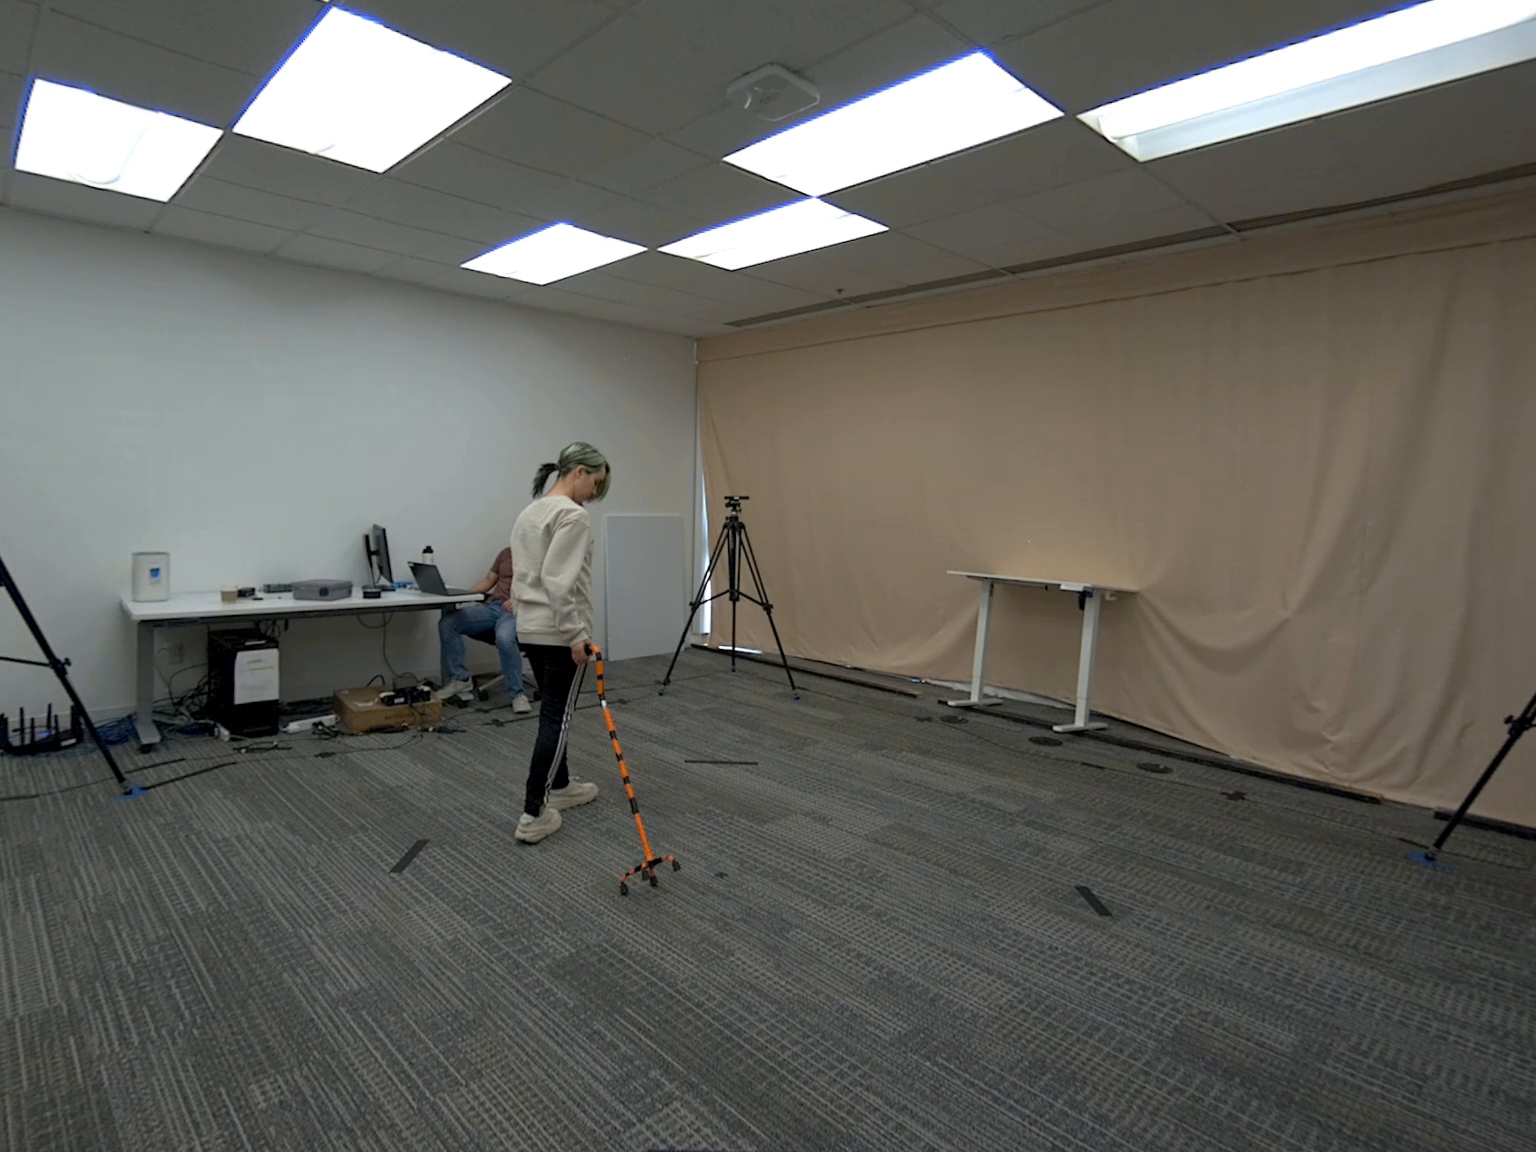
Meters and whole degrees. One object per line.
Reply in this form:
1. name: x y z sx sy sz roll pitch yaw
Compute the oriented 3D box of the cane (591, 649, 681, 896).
1. cane: -0.563 0.674 3.096 0.148 0.928 0.206 -2 -31 -38
